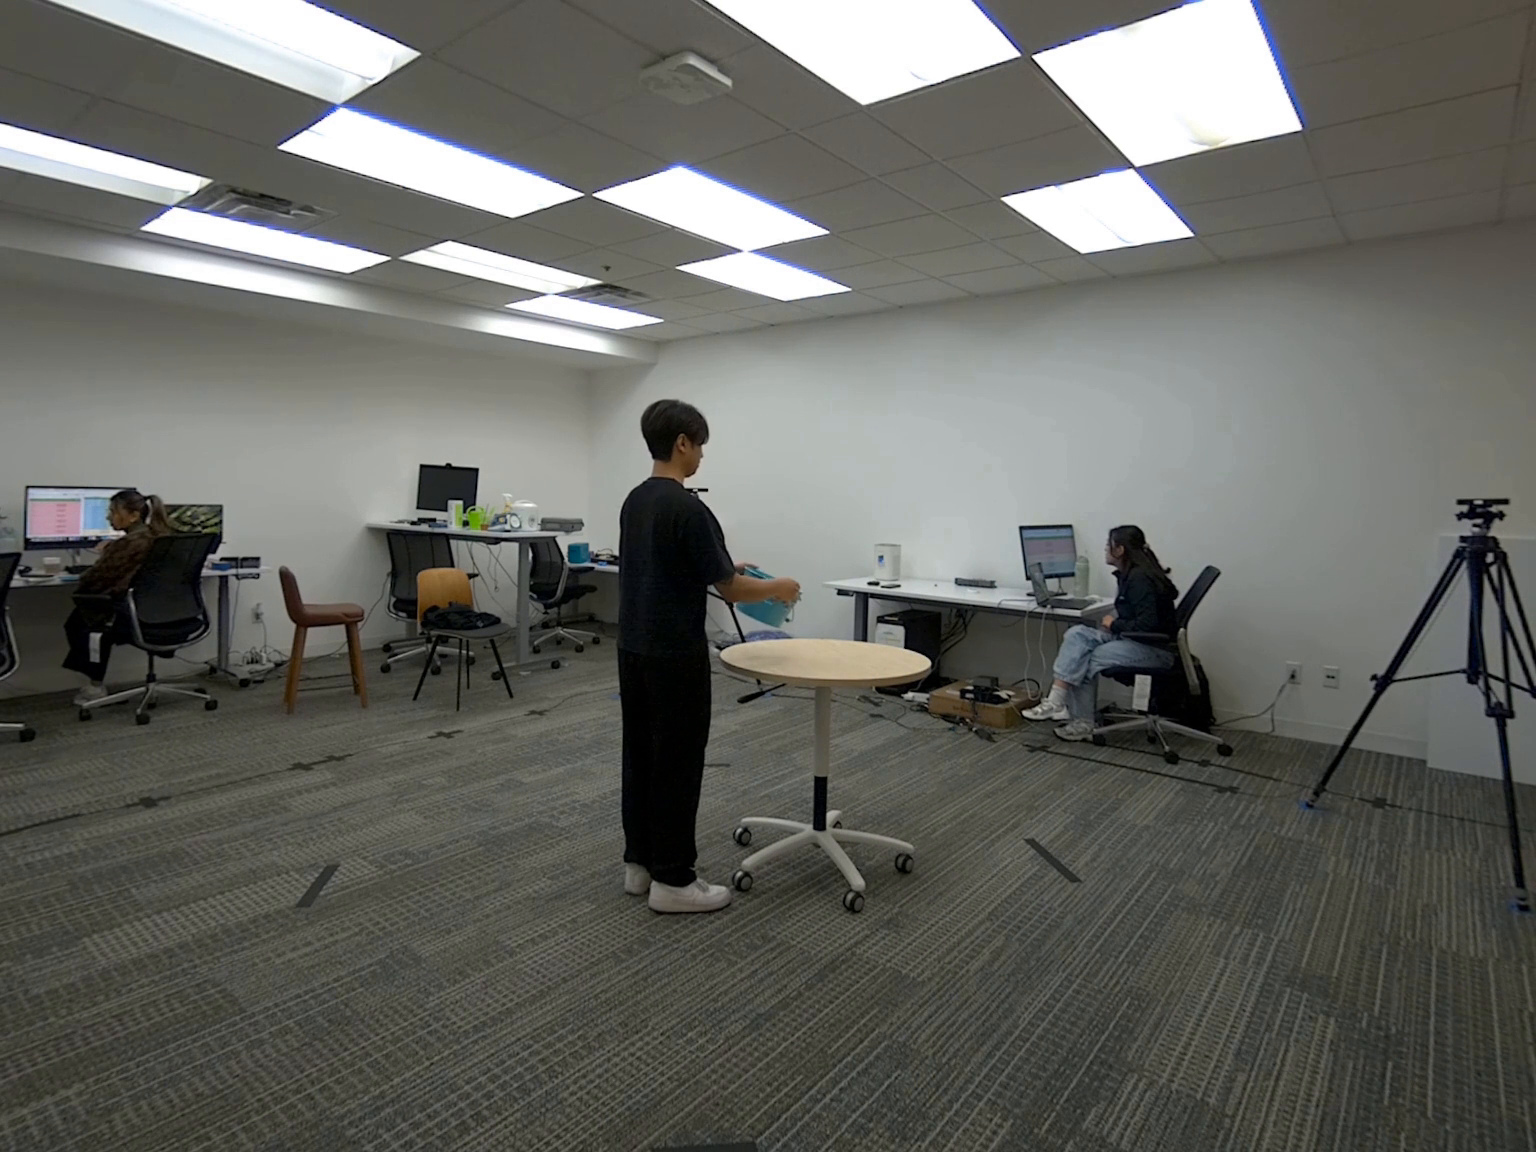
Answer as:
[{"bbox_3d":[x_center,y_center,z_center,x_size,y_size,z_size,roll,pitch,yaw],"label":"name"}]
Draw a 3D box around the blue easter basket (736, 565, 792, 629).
[{"bbox_3d":[-0.012,0.082,3.102,0.243,0.155,0.246,15,9,-4],"label":"blue easter basket"}]
